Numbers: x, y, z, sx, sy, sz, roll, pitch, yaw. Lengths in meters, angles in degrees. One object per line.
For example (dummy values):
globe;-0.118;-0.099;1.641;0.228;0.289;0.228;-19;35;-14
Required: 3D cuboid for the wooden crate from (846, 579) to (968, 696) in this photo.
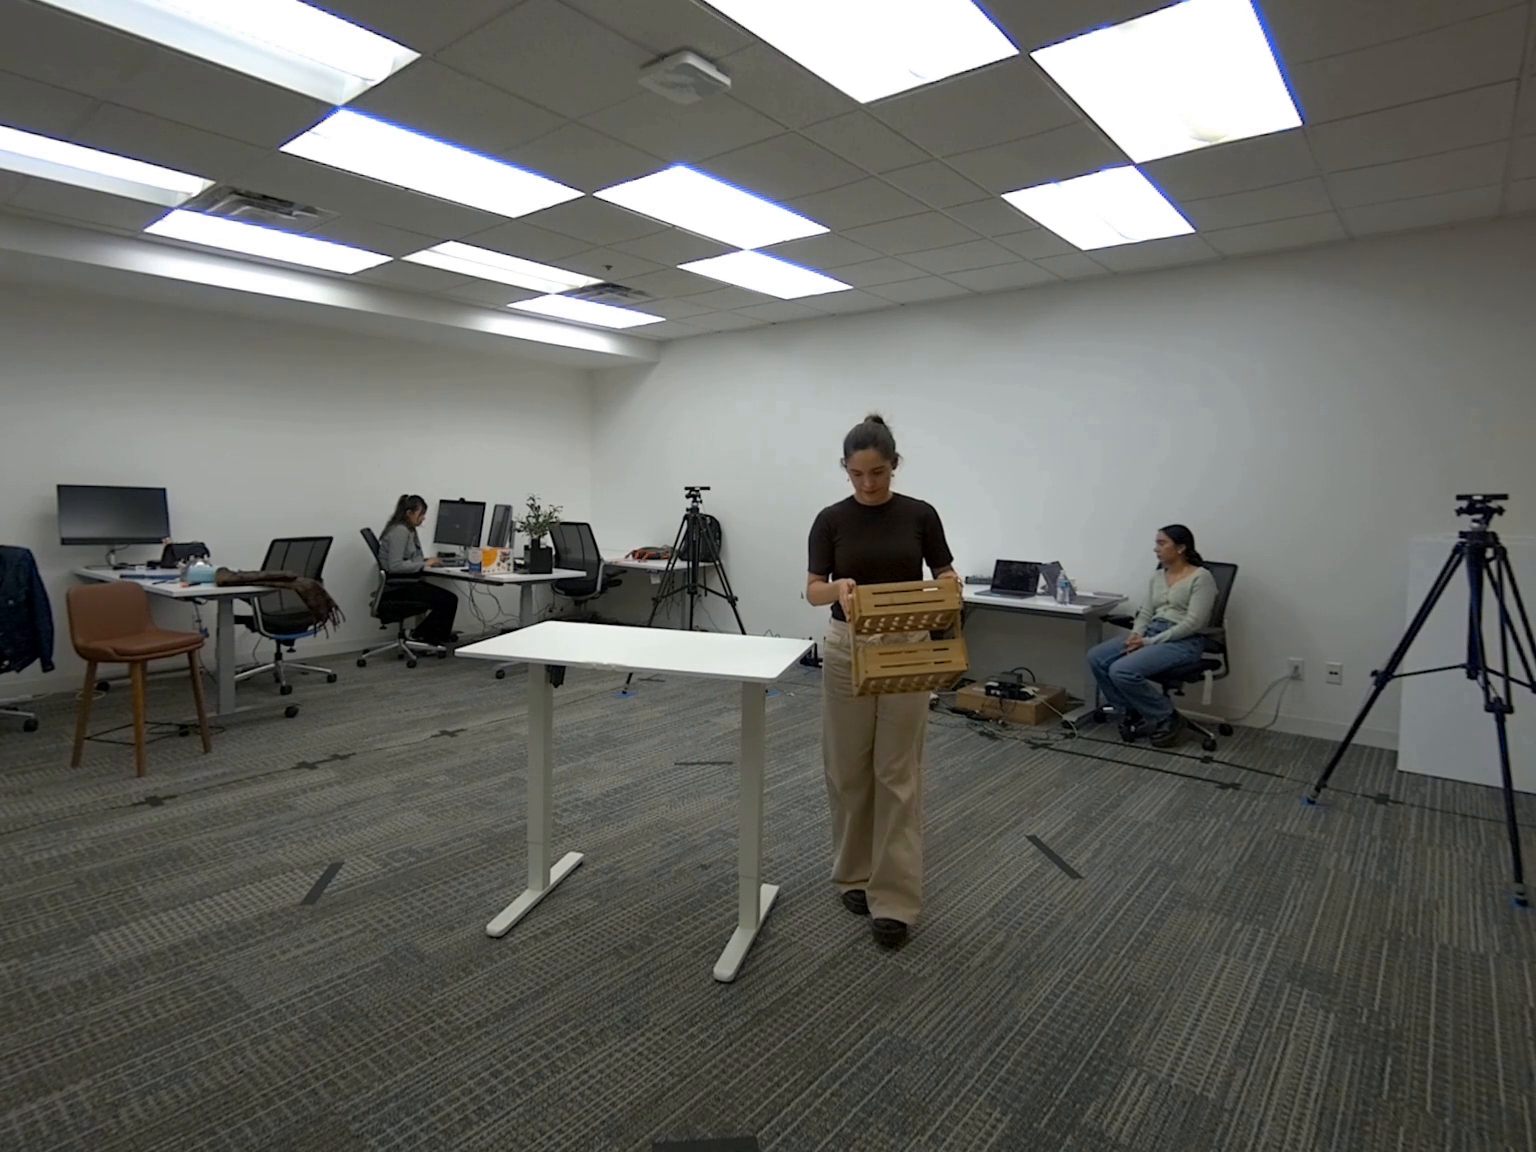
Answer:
wooden crate;0.401;0.181;2.570;0.322;0.279;0.297;-4;-21;-7
